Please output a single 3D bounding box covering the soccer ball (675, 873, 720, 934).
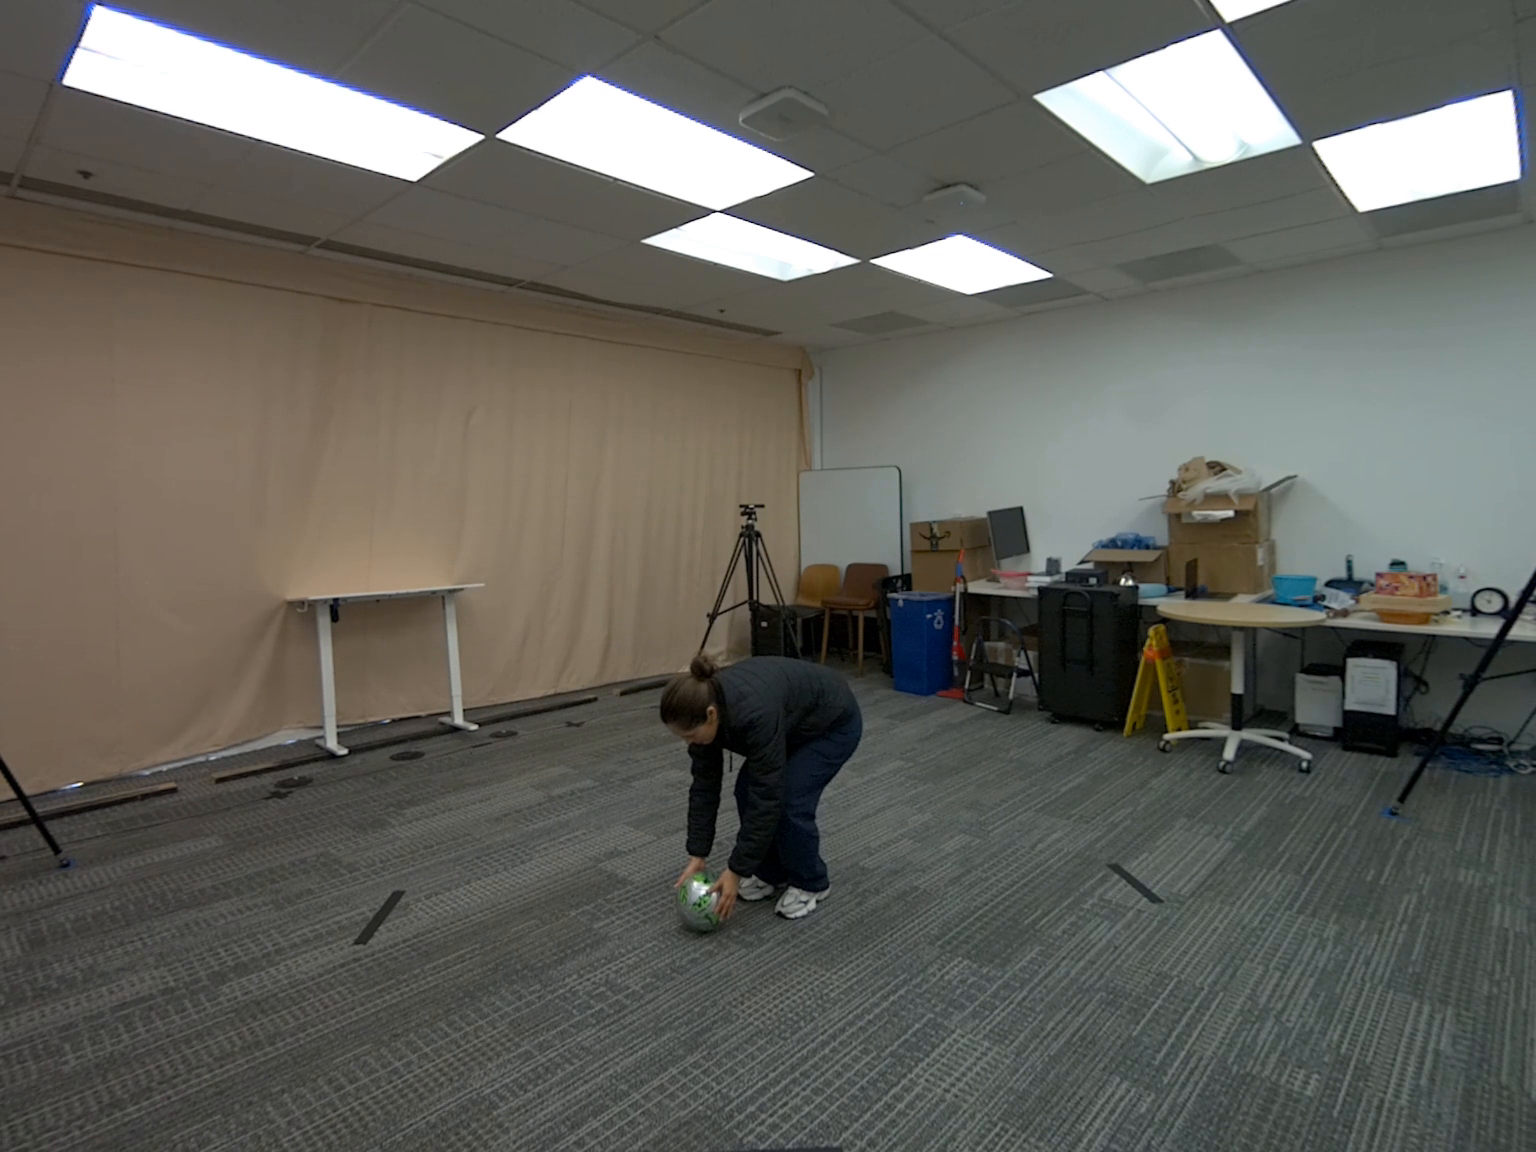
[{"bbox_3d":[-0.217,1.062,2.777,0.187,0.187,0.188,-1,4,-2],"label":"soccer ball"}]
